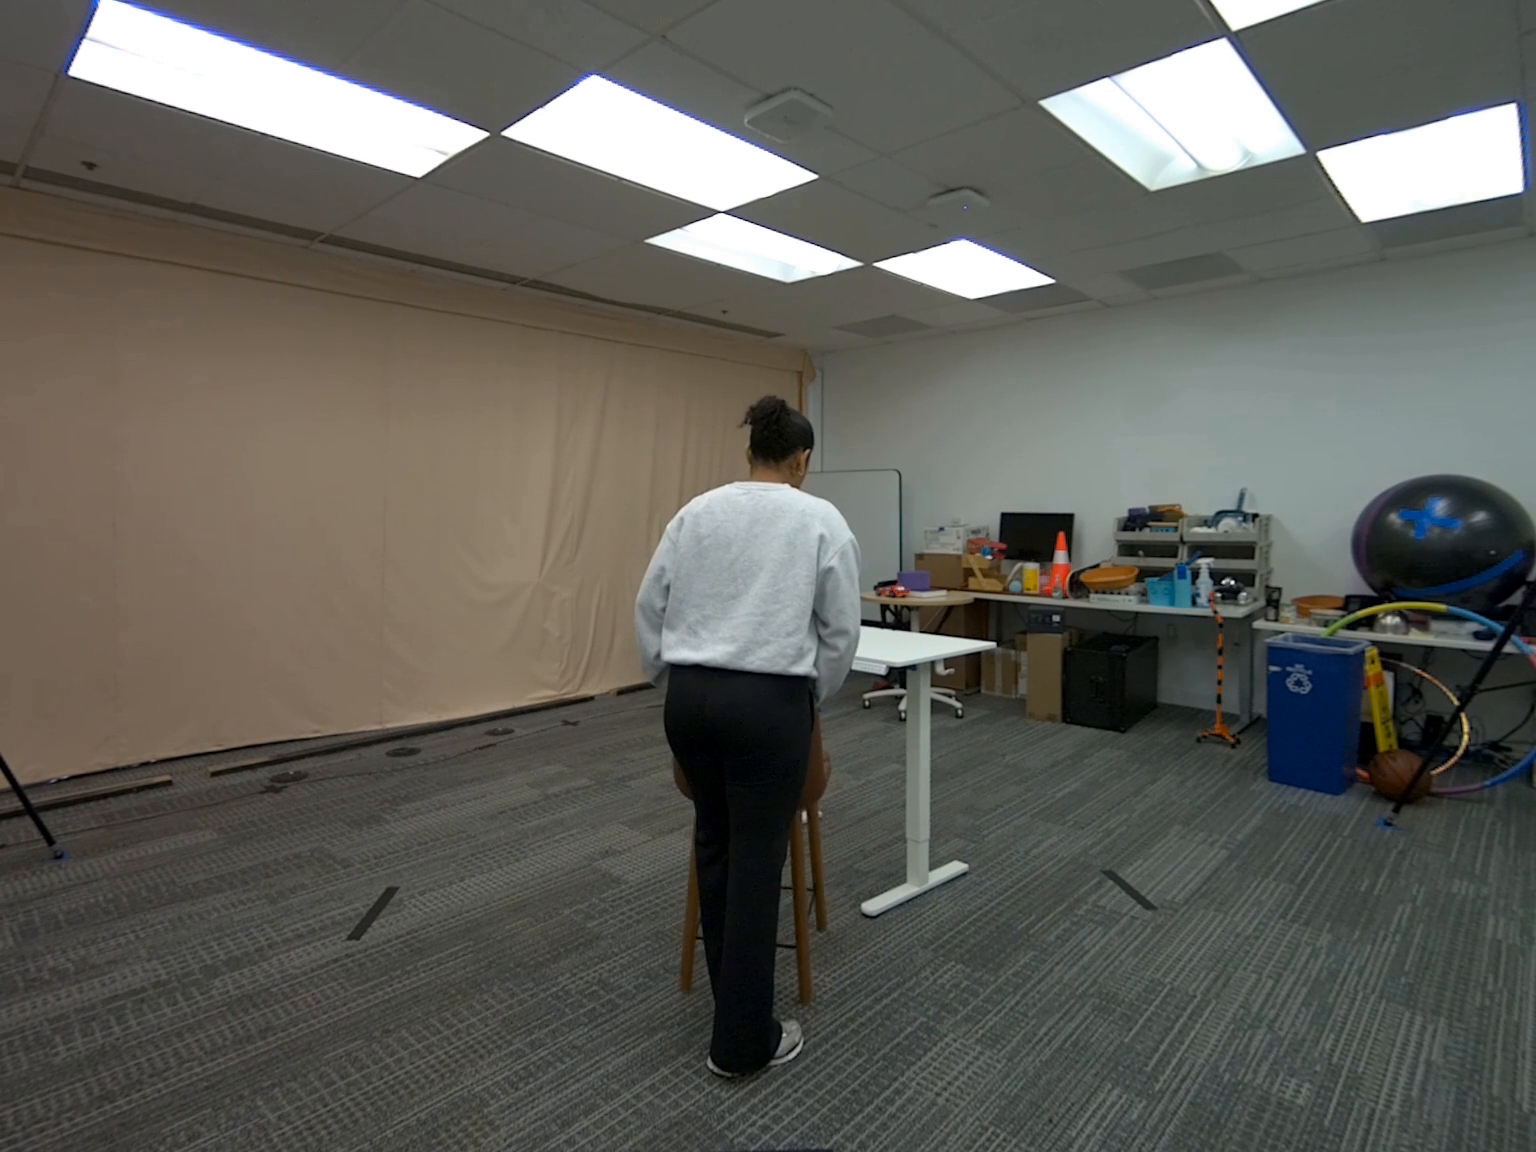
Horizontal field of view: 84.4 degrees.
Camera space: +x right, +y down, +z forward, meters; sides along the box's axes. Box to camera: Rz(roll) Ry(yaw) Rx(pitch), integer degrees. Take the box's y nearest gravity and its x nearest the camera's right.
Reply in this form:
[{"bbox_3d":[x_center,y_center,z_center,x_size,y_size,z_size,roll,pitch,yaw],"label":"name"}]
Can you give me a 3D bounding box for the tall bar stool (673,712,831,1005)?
[{"bbox_3d":[-0.027,0.745,2.570,0.462,0.886,0.464,1,6,10],"label":"tall bar stool"}]
